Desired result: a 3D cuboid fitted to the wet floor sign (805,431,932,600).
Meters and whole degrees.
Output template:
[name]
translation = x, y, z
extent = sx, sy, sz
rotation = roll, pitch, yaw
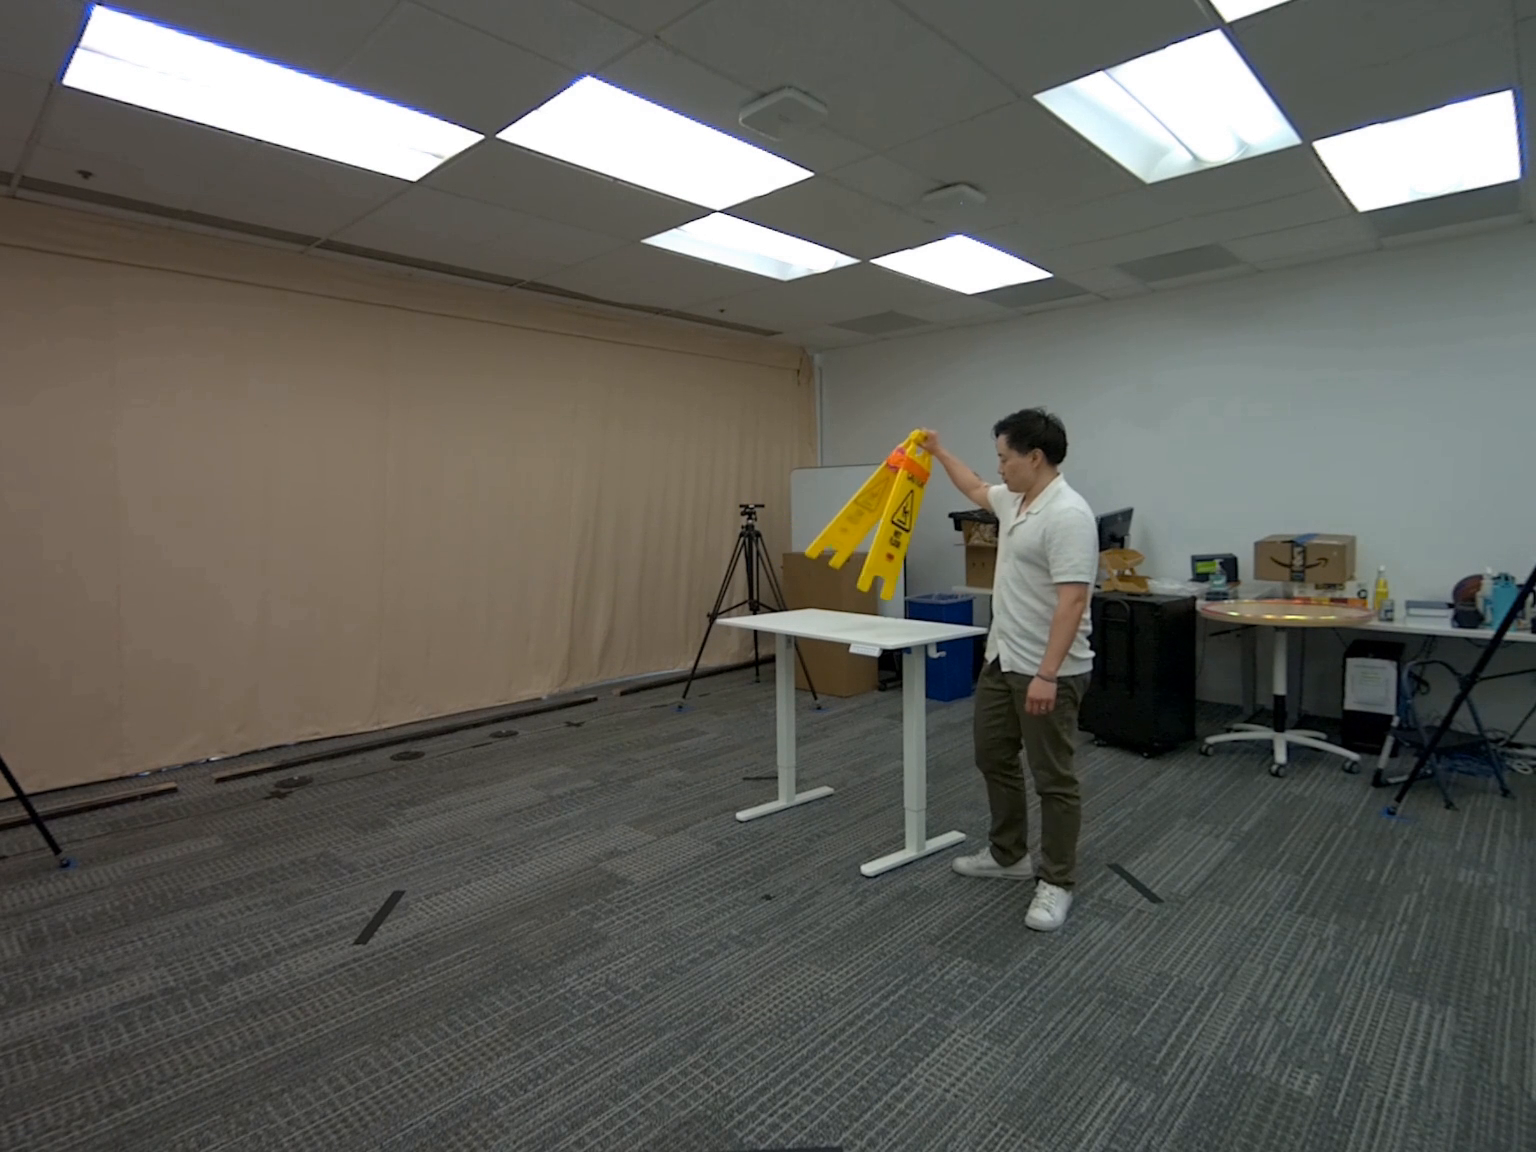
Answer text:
[wet floor sign]
translation = 0.472, -0.274, 3.358
extent = 0.300, 0.646, 0.272
rotation = 33, 7, 37
